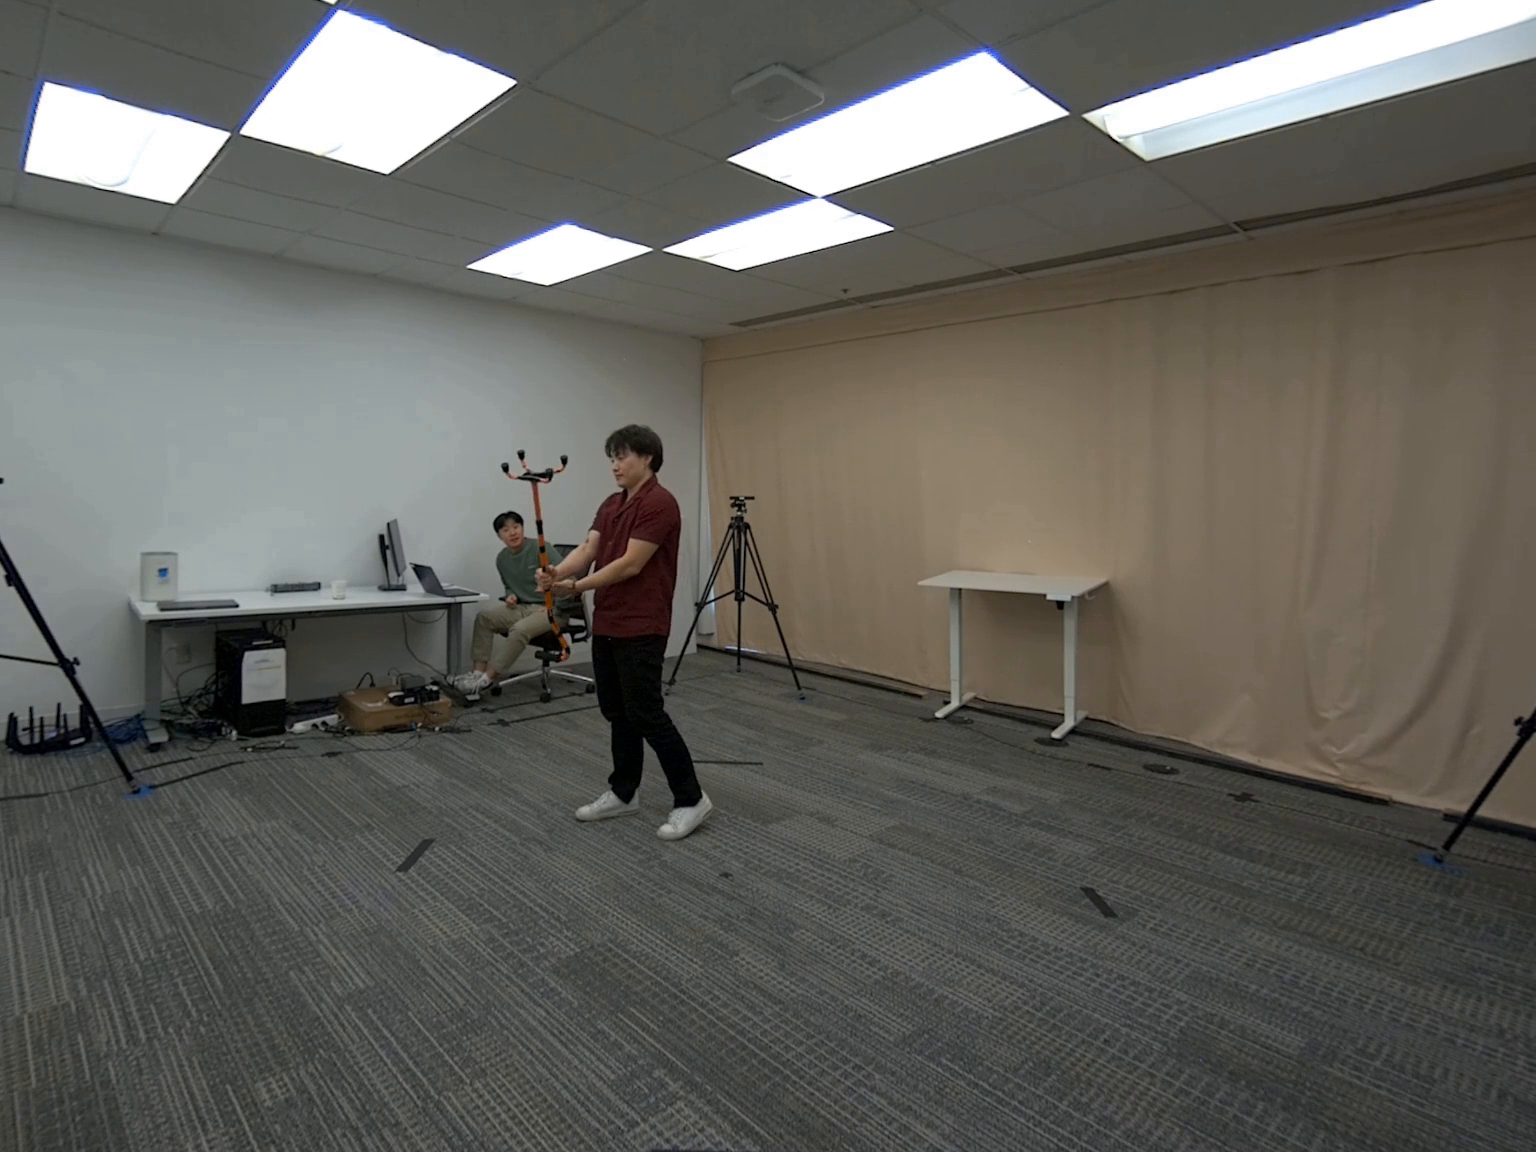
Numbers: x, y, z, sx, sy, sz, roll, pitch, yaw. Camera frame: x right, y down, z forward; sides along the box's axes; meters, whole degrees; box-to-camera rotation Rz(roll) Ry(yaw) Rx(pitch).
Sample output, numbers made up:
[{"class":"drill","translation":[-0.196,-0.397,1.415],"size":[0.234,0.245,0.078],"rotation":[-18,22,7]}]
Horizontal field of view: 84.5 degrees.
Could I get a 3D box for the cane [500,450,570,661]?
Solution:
[{"class":"cane","translation":[-0.880,-0.037,3.316],"size":[0.209,0.890,0.152],"rotation":[11,32,15]}]
